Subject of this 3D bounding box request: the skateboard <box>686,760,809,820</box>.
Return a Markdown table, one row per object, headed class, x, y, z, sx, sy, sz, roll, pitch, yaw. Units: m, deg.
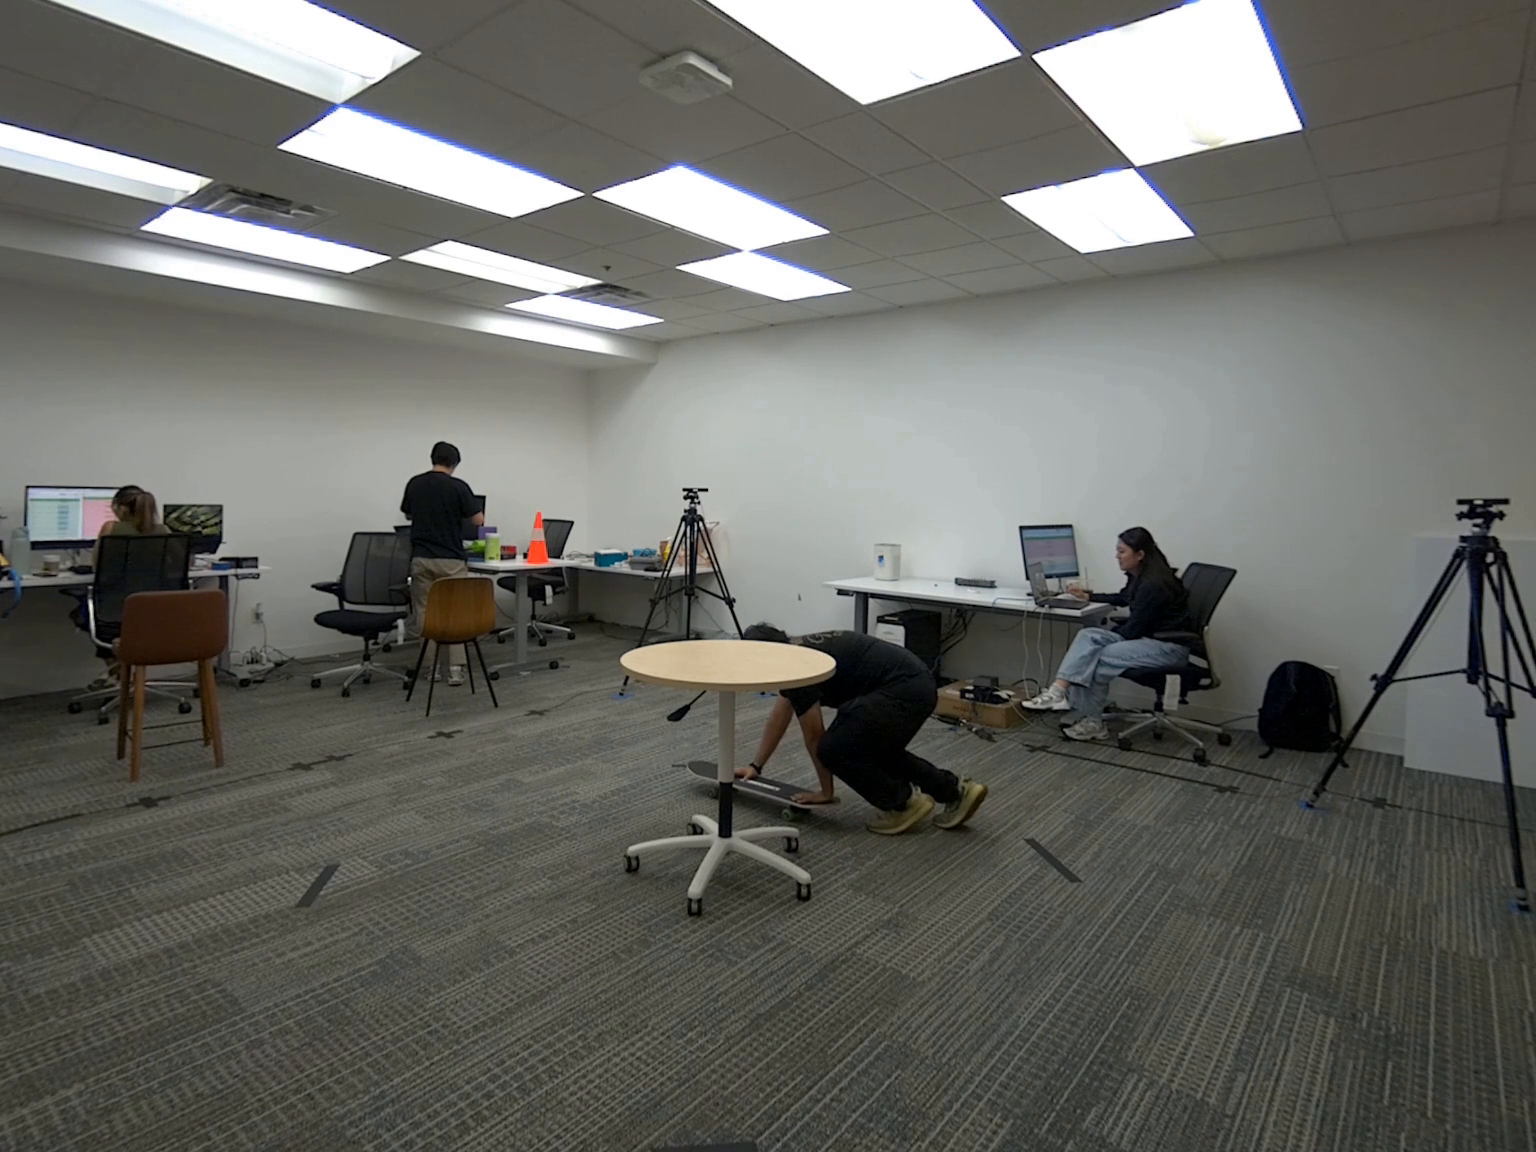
| class | x | y | z | sx | sy | sz | roll | pitch | yaw |
| --- | --- | --- | --- | --- | --- | --- | --- | --- | --- |
| skateboard | -0.046 | 0.951 | 3.767 | 0.811 | 0.110 | 0.187 | 6 | 4 | 36 |
